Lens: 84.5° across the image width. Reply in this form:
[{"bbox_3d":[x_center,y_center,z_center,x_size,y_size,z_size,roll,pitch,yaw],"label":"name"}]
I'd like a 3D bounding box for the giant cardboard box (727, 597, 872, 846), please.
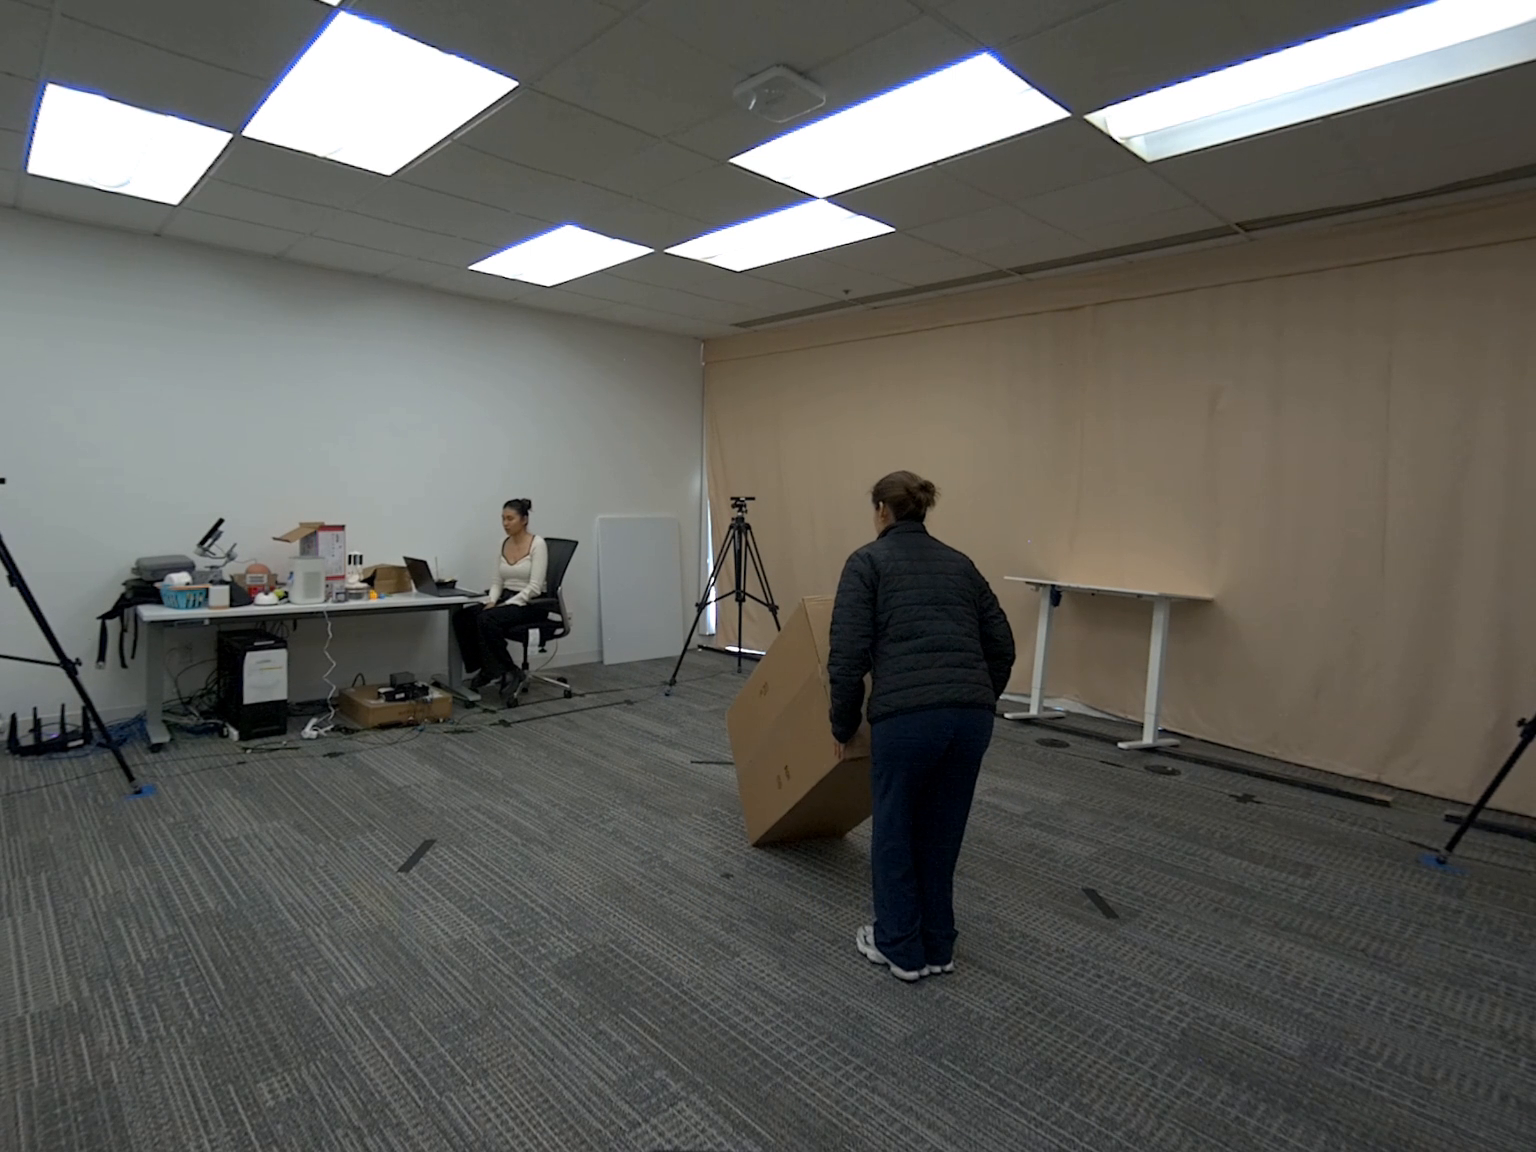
[{"bbox_3d":[0.218,0.575,3.179,0.440,0.597,1.019,1,-32,-21],"label":"giant cardboard box"}]
